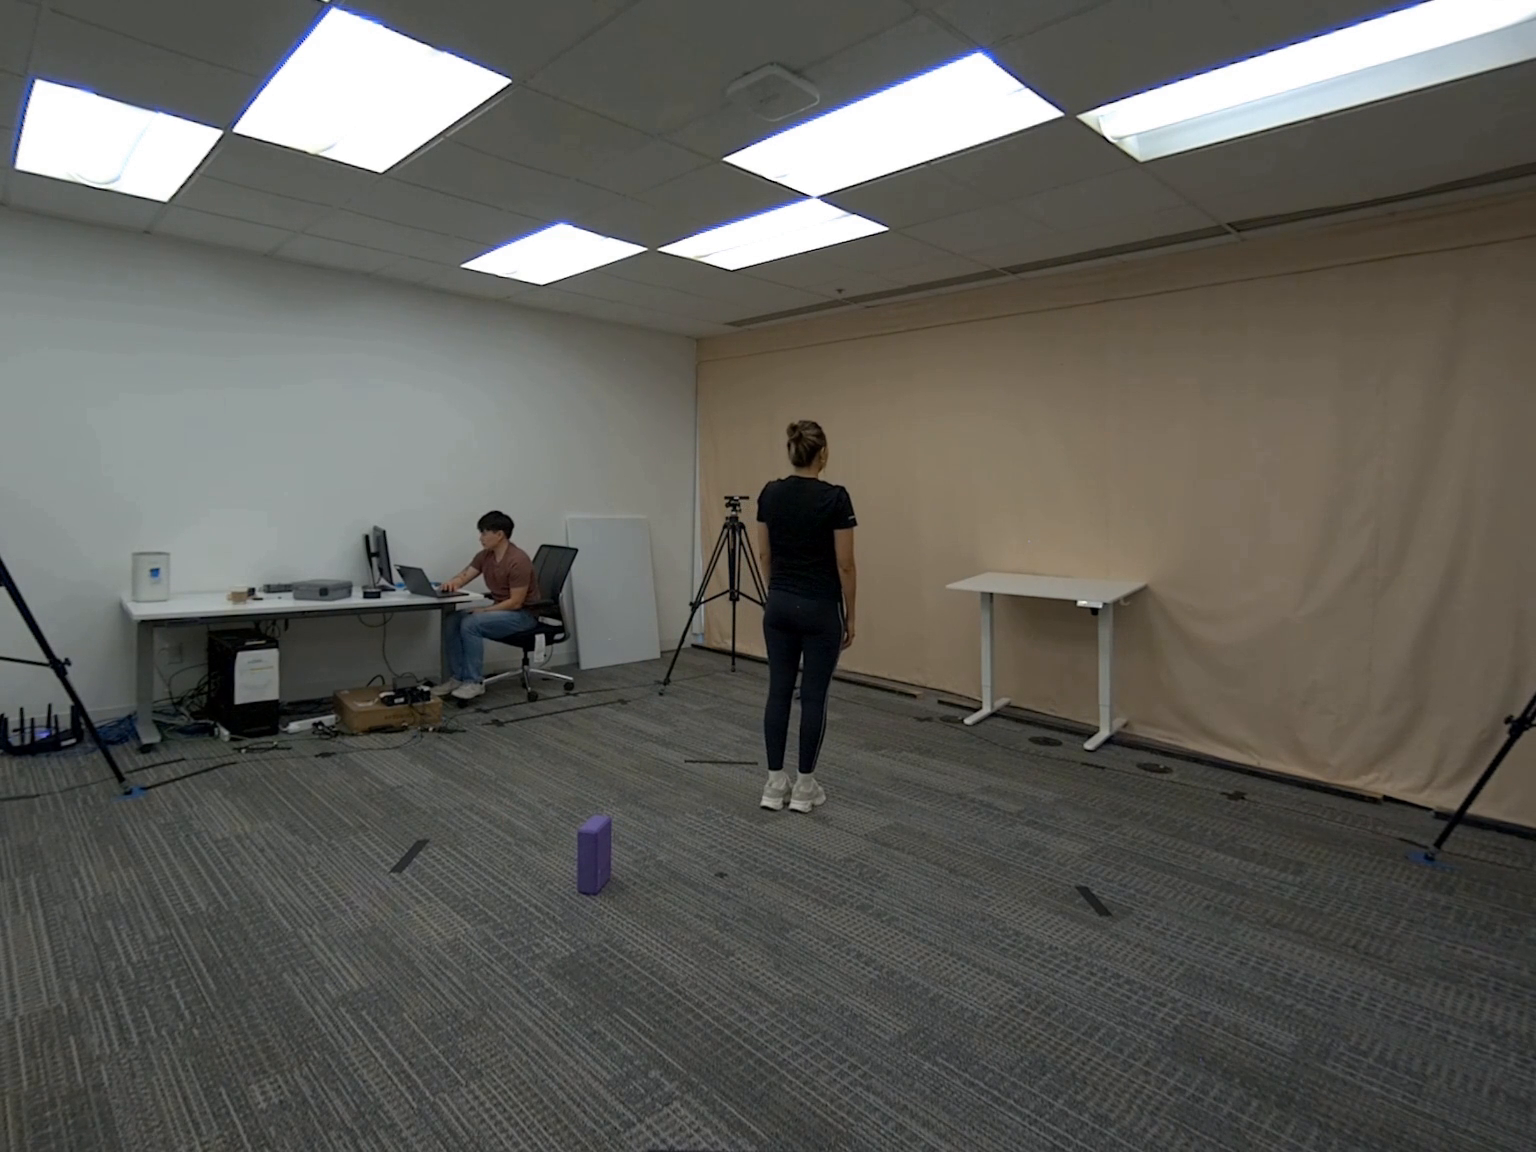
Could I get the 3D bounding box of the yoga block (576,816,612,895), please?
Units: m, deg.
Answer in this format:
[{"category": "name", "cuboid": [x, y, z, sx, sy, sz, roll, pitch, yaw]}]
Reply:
[{"category": "yoga block", "cuboid": [-0.623, 0.992, 2.984, 0.077, 0.228, 0.148, 2, 5, 10]}]
